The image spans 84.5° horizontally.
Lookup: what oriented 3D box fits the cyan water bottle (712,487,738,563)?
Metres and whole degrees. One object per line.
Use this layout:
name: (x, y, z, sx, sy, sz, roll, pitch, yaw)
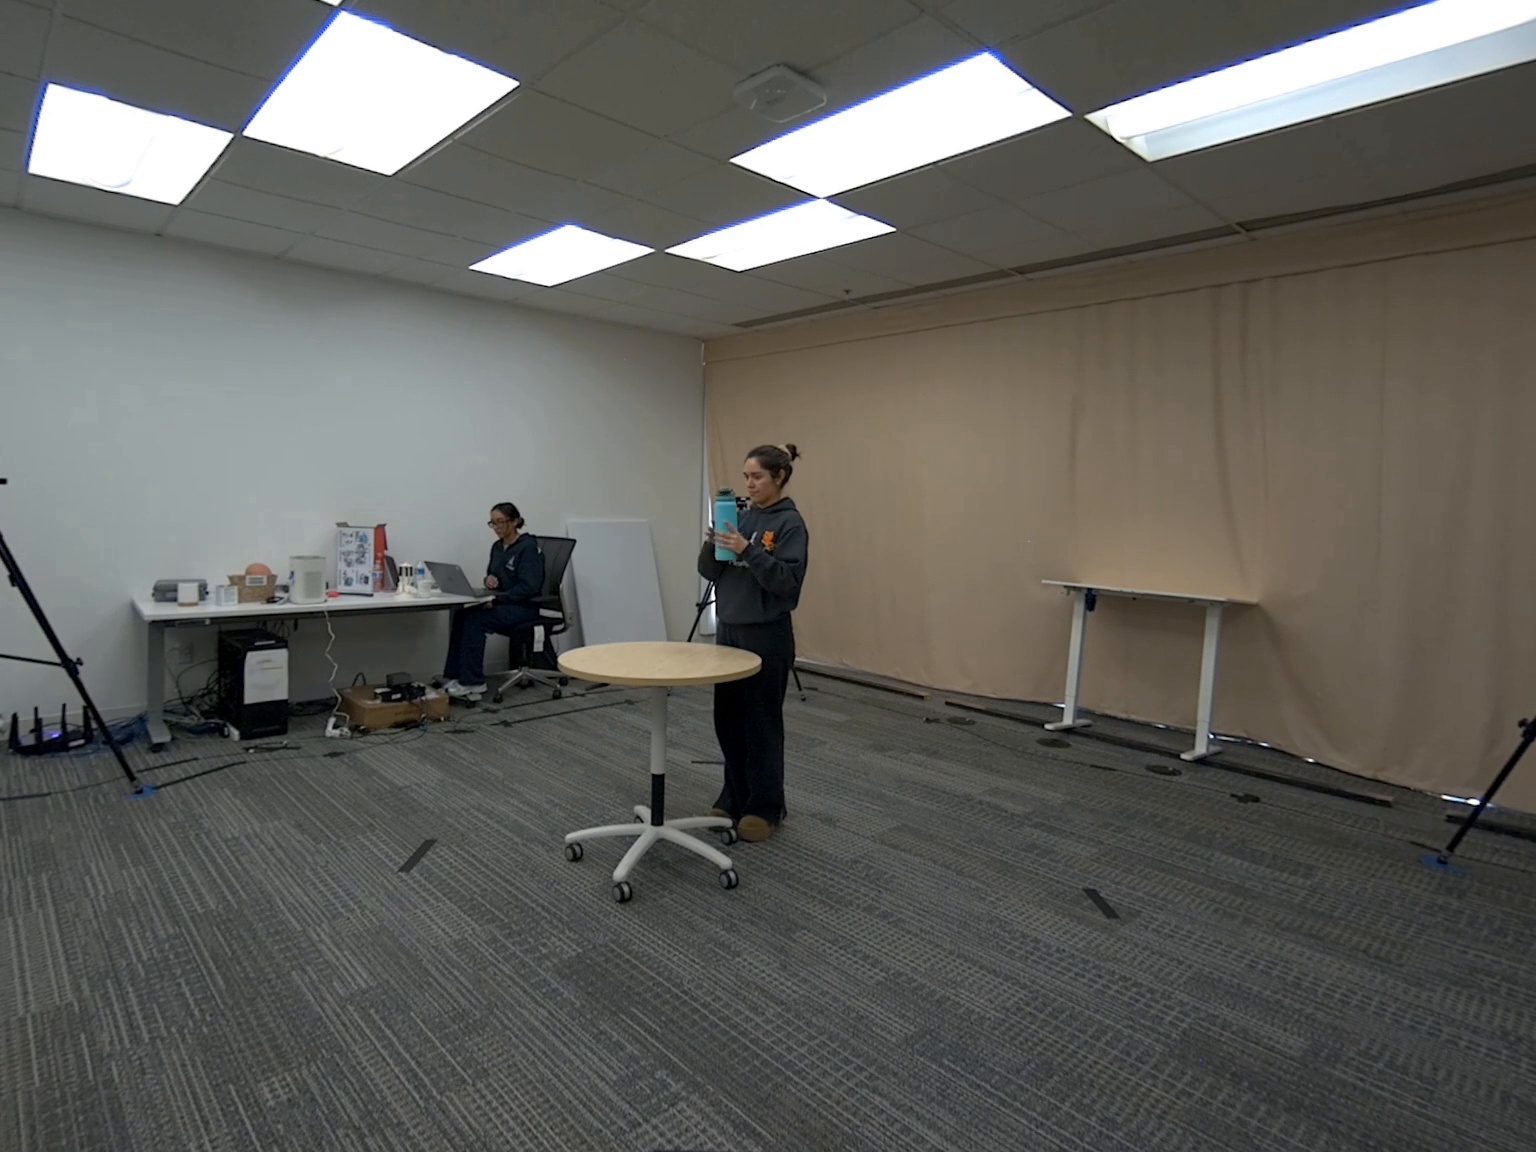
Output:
cyan water bottle: (-0.189, -0.190, 3.306, 0.092, 0.282, 0.093, -1, 6, -1)
